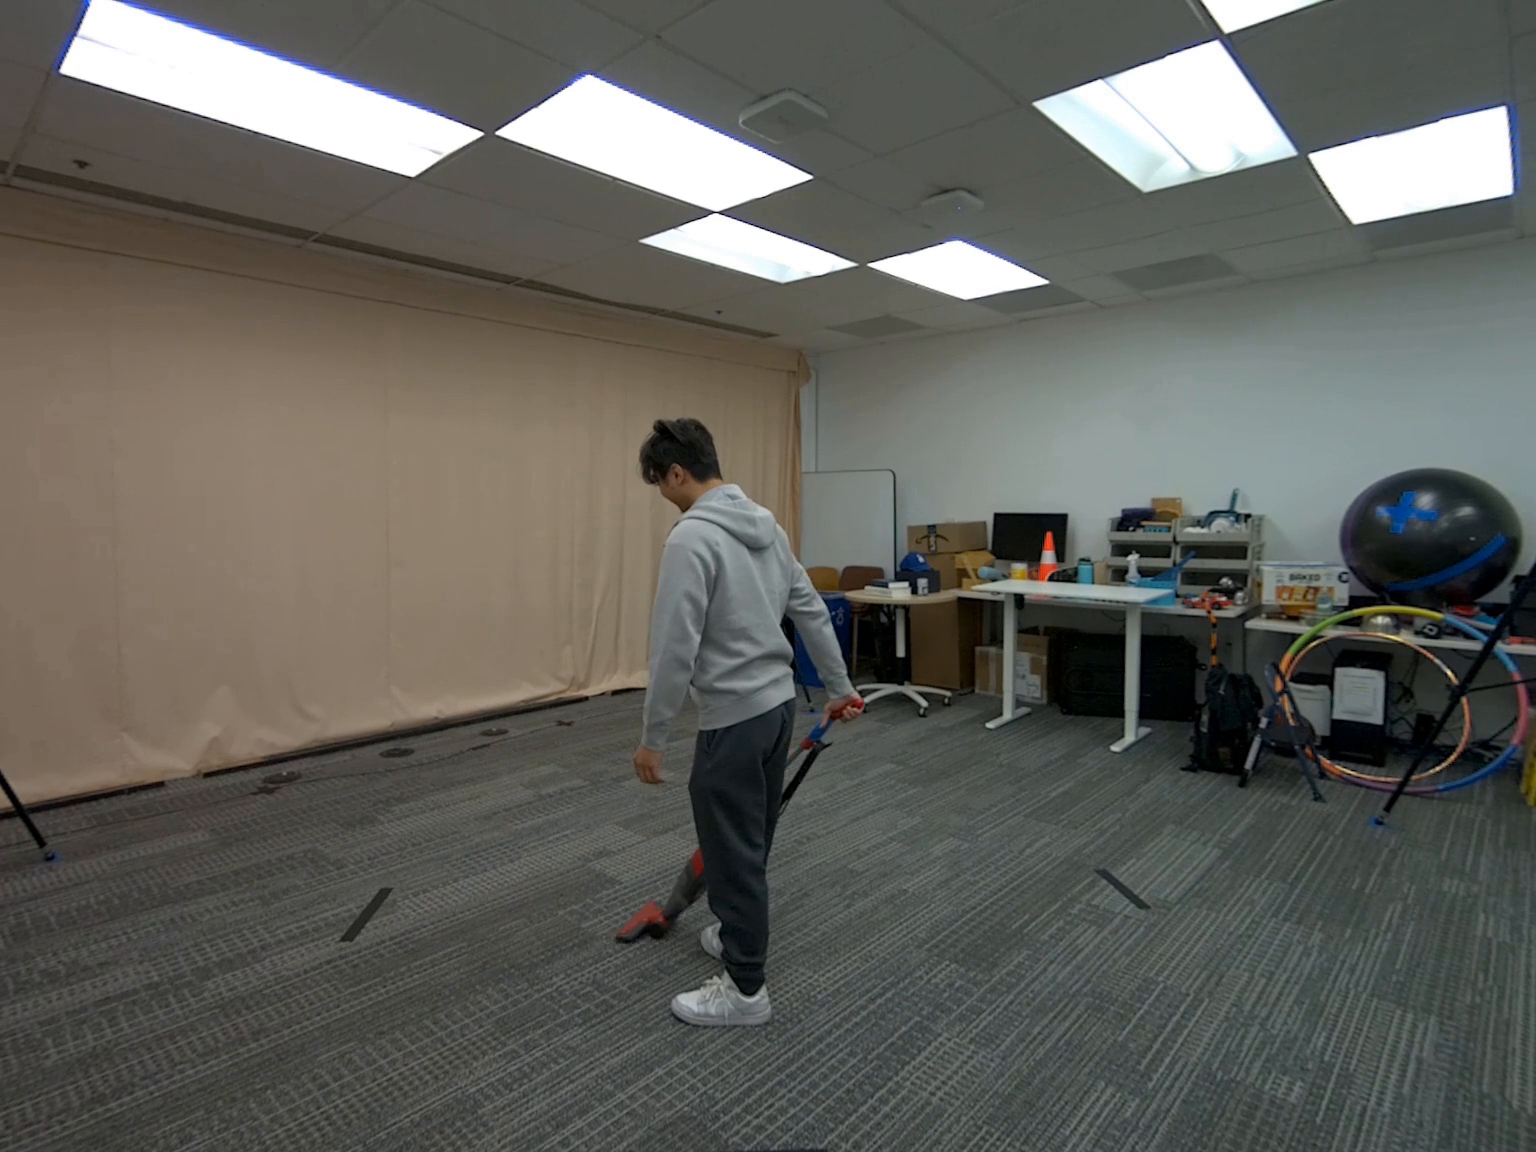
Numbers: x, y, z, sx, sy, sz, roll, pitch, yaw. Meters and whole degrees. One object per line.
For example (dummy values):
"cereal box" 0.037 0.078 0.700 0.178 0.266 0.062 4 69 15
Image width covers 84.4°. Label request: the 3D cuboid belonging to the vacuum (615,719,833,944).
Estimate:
"vacuum" -0.074 0.775 2.646 0.146 1.053 0.248 44 16 9
